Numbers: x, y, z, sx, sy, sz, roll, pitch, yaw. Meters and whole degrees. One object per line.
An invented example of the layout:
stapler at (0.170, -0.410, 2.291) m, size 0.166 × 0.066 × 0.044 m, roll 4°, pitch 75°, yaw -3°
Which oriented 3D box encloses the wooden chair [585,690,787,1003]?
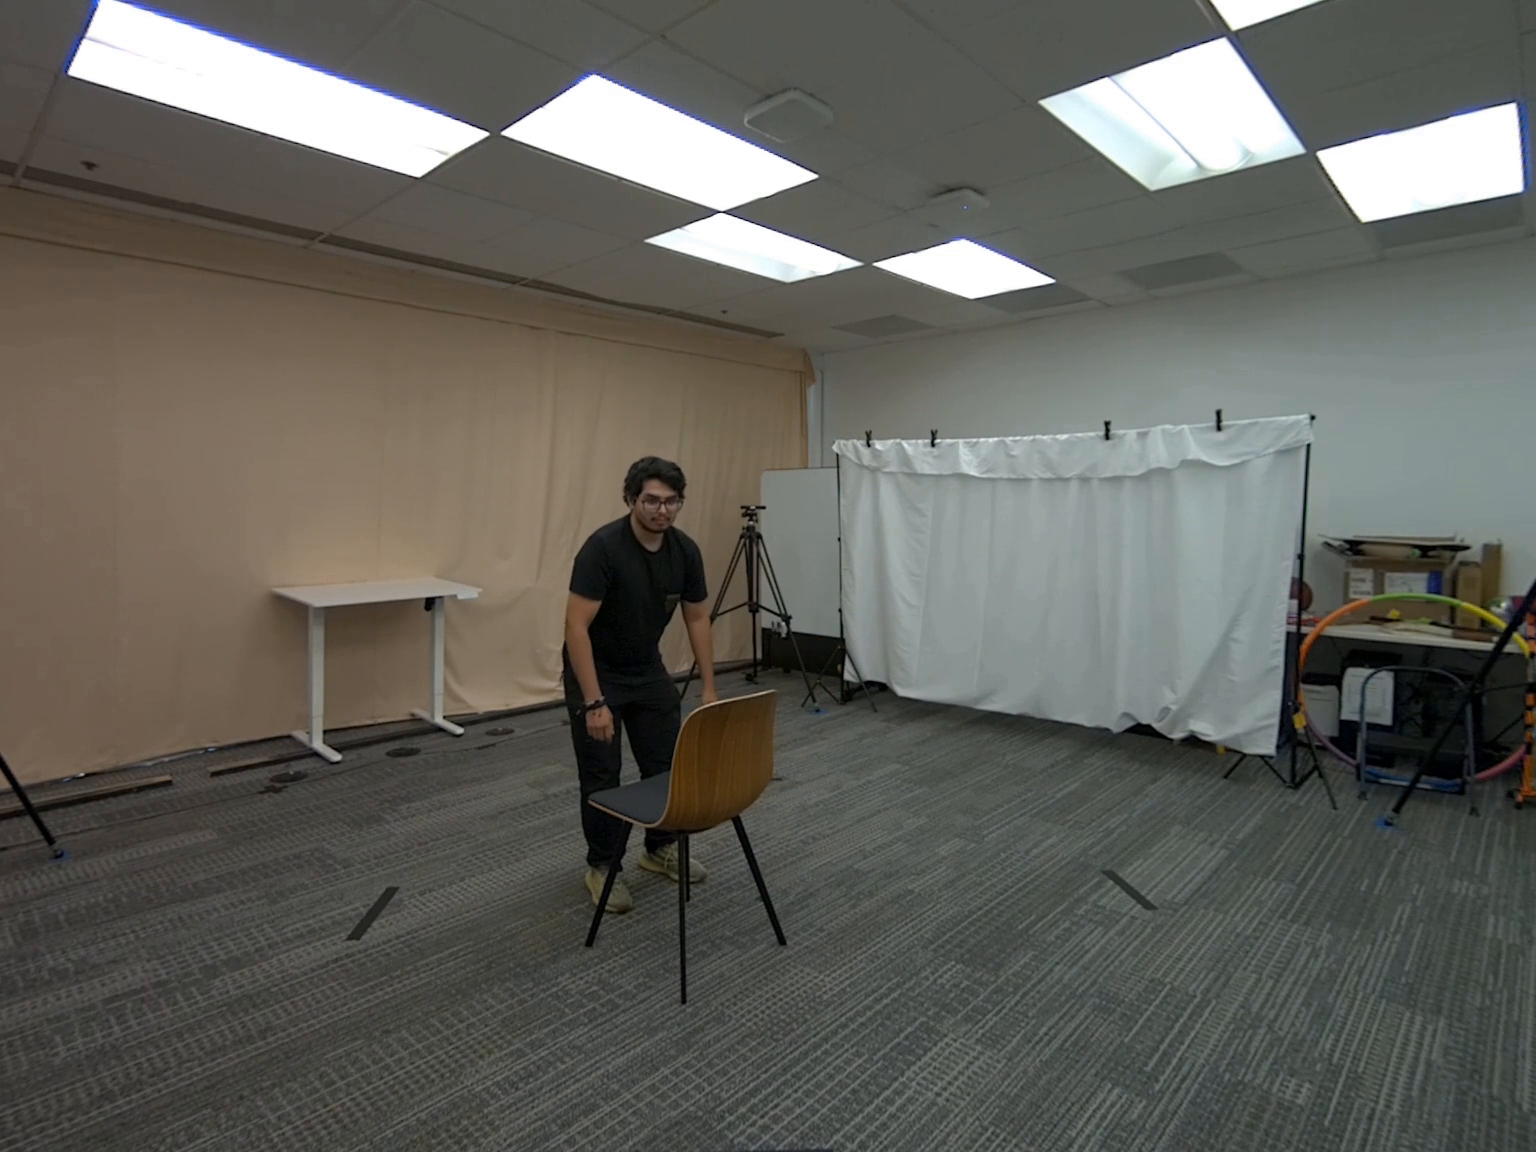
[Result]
wooden chair at (-0.263, 0.744, 2.651) m, size 0.541 × 0.874 × 0.463 m, roll 9°, pitch 8°, yaw 43°
